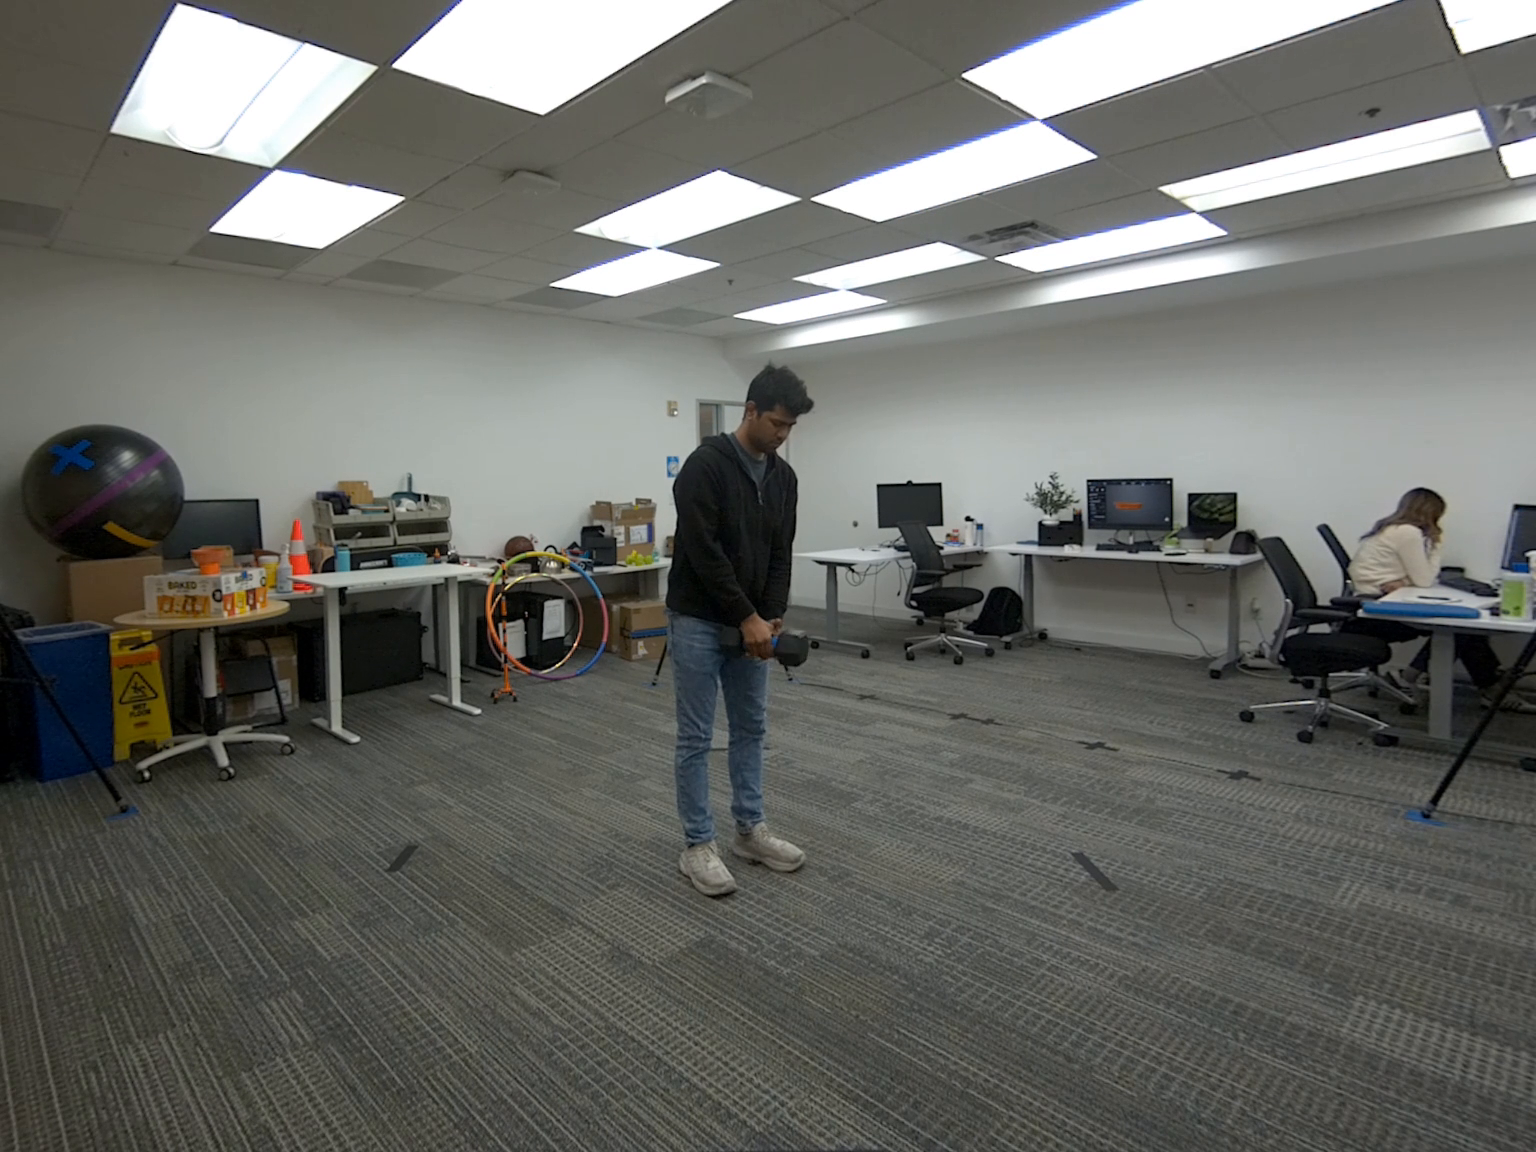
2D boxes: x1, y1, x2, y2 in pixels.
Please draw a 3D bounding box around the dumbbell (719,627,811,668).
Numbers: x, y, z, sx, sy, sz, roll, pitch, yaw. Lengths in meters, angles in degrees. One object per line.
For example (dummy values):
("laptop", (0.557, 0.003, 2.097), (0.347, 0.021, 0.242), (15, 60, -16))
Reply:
("dumbbell", (-0.027, 0.236, 2.843), (0.300, 0.124, 0.105), (5, -18, 24))
